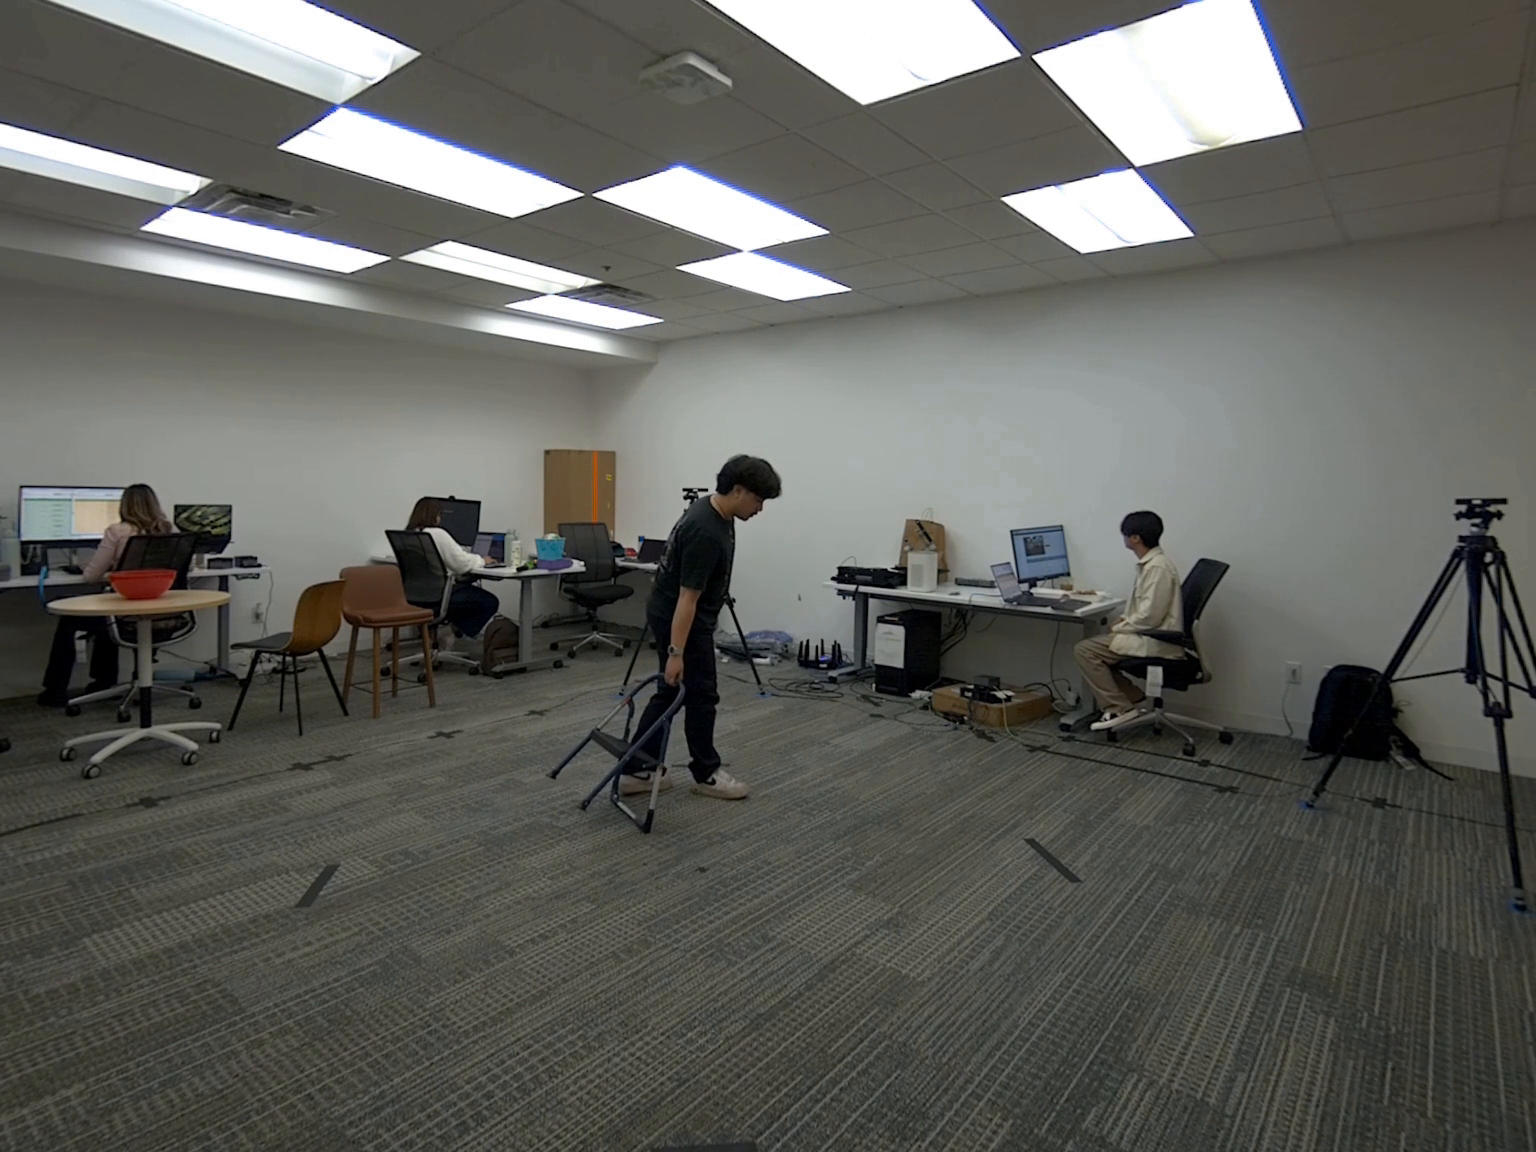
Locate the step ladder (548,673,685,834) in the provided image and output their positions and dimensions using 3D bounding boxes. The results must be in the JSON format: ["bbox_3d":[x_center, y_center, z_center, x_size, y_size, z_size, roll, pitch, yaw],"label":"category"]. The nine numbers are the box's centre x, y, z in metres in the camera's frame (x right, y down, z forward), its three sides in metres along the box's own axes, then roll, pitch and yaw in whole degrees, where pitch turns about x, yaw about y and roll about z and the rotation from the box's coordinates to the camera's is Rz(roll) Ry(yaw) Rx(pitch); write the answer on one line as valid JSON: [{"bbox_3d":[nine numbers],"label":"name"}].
[{"bbox_3d":[-0.602,0.681,3.583,0.337,0.608,0.444,30,-10,-28],"label":"step ladder"}]
